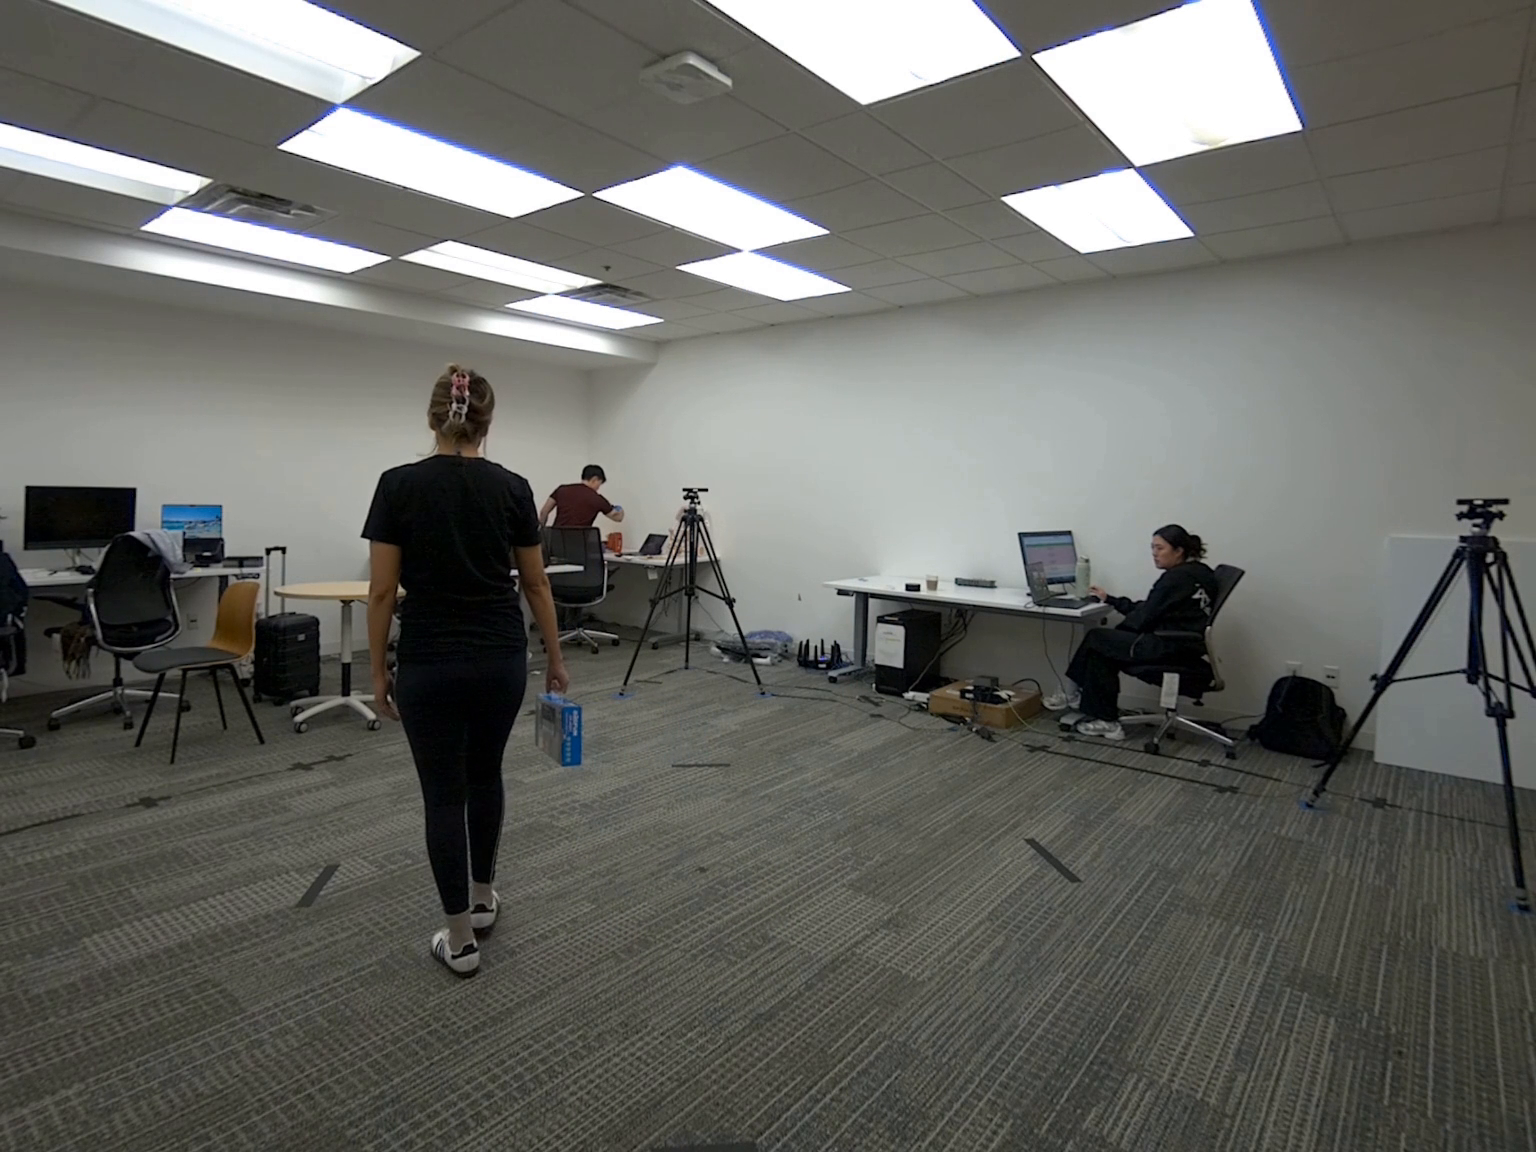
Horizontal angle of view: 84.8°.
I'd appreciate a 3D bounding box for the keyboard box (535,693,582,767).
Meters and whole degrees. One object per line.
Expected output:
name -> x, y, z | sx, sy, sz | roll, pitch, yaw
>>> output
keyboard box -> -0.675, 0.478, 2.683 | 0.058, 0.177, 0.445 | 3, -4, -25
